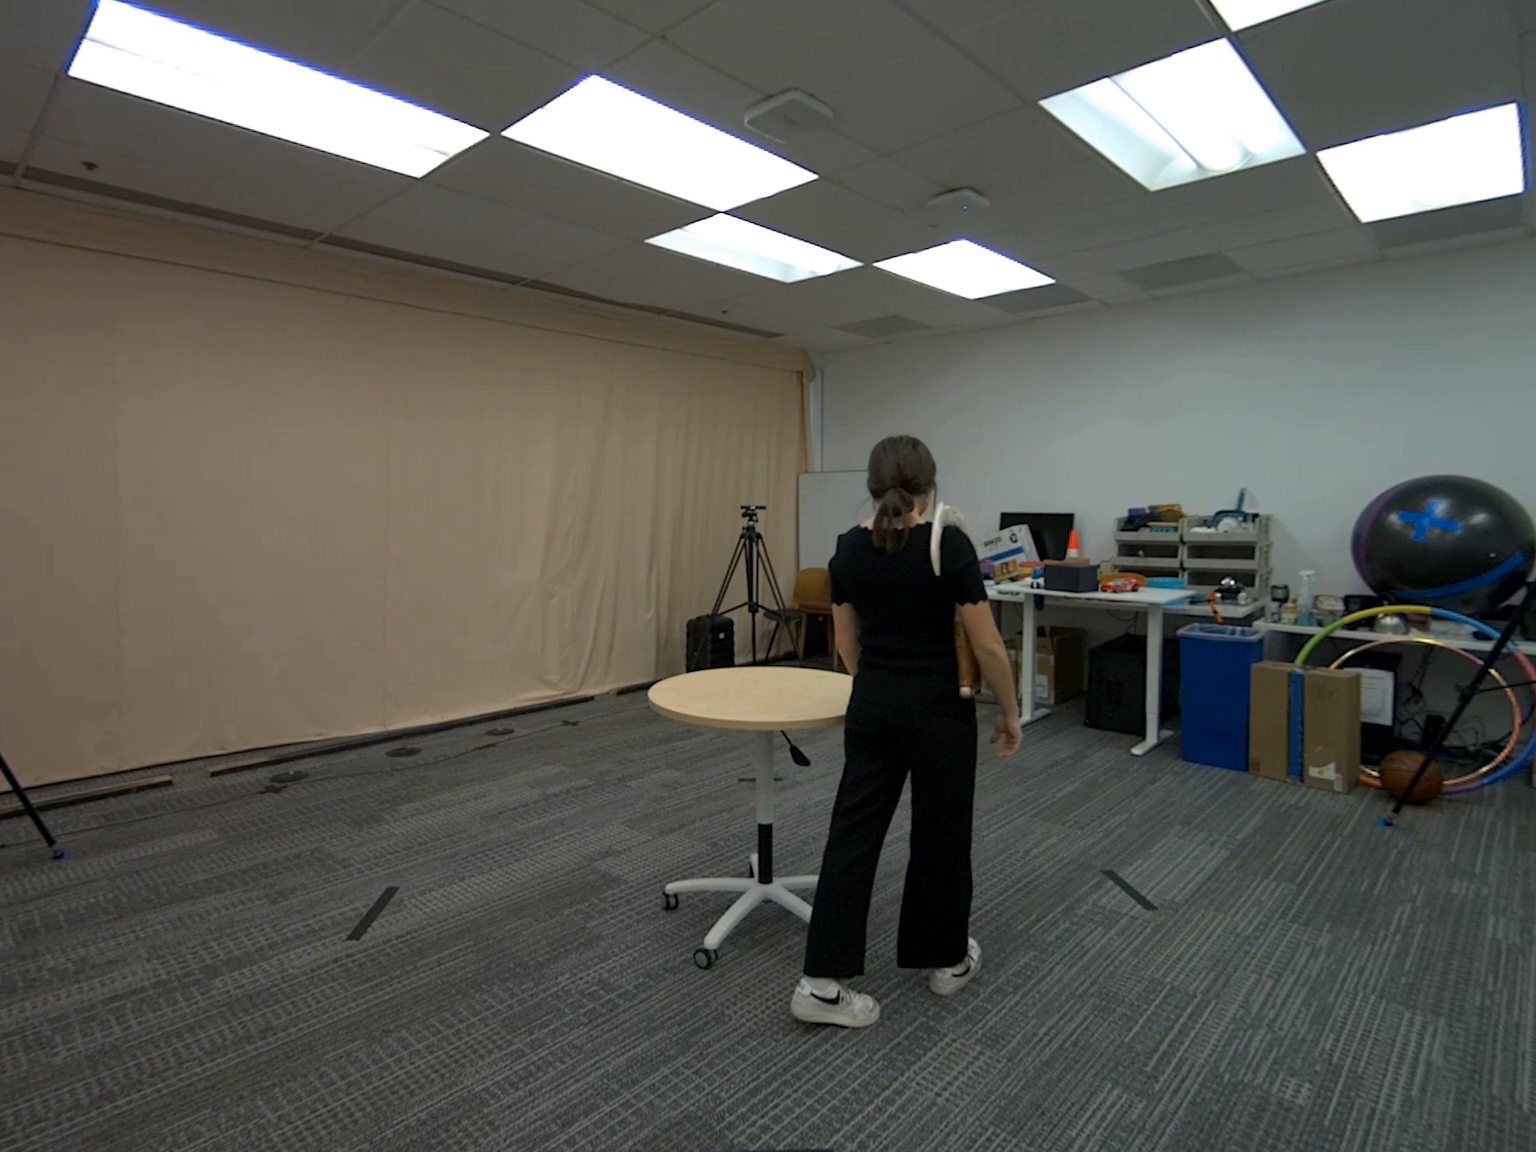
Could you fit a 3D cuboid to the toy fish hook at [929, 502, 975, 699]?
[{"bbox_3d":[0.484,0.062,2.200,0.049,0.510,0.217,-11,-13,40],"label":"toy fish hook"}]
